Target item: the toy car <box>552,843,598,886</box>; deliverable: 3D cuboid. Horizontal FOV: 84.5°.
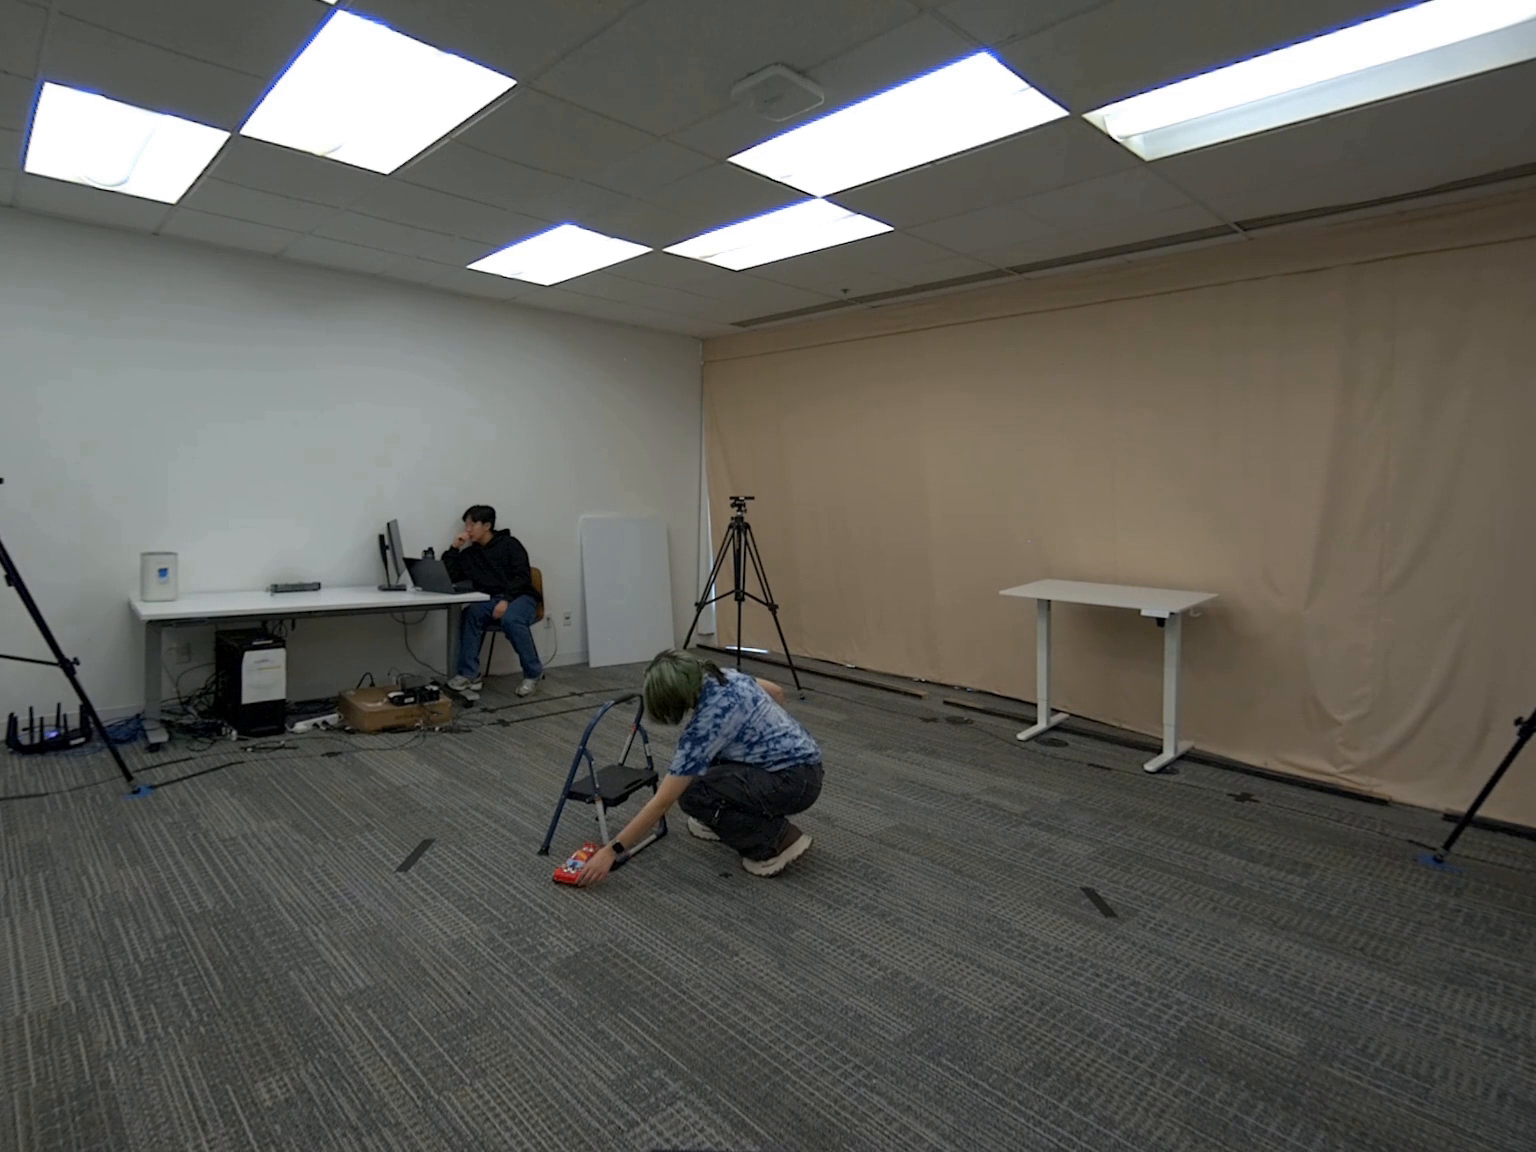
[{"bbox_3d":[-0.678,1.064,3.093,0.132,0.082,0.255,1,21,13],"label":"toy car"}]
